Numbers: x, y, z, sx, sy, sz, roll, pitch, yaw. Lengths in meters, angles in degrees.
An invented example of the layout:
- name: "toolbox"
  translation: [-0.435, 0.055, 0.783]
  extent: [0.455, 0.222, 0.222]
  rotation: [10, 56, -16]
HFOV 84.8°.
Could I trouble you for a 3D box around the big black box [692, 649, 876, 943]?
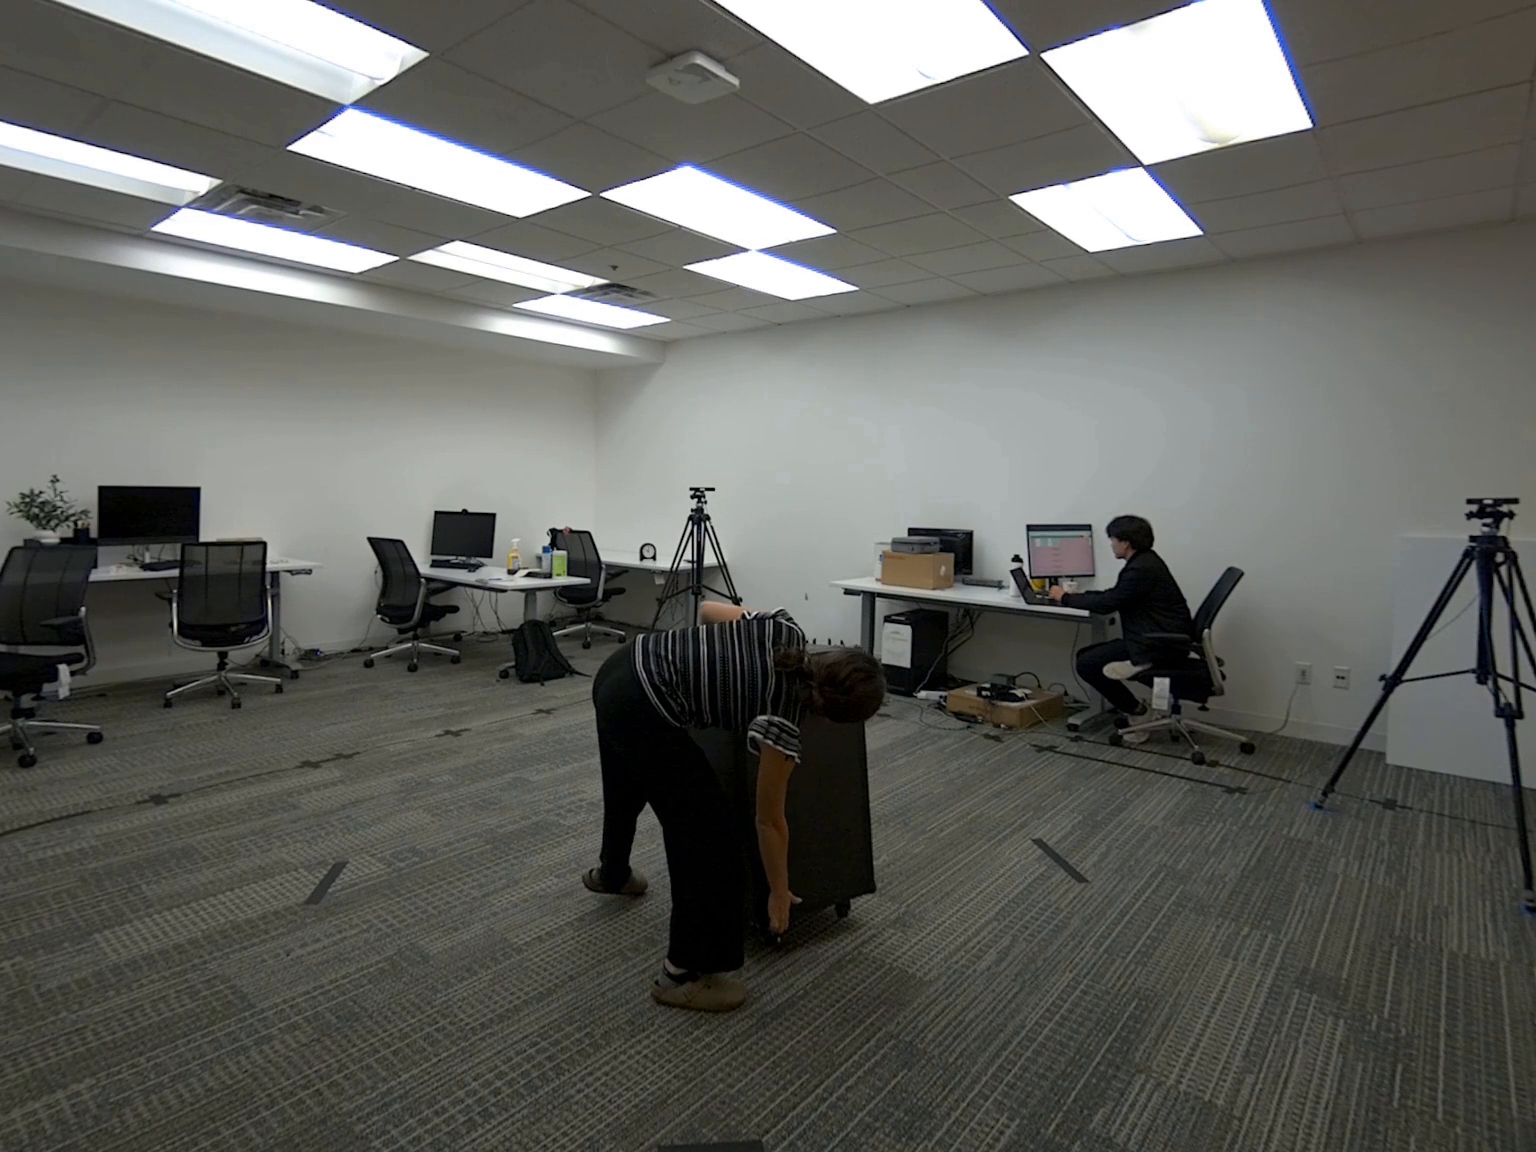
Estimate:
- name: "big black box"
  translation: [0.010, 0.670, 2.771]
  extent: [0.506, 0.864, 0.406]
  rotation: [-2, -3, -34]
